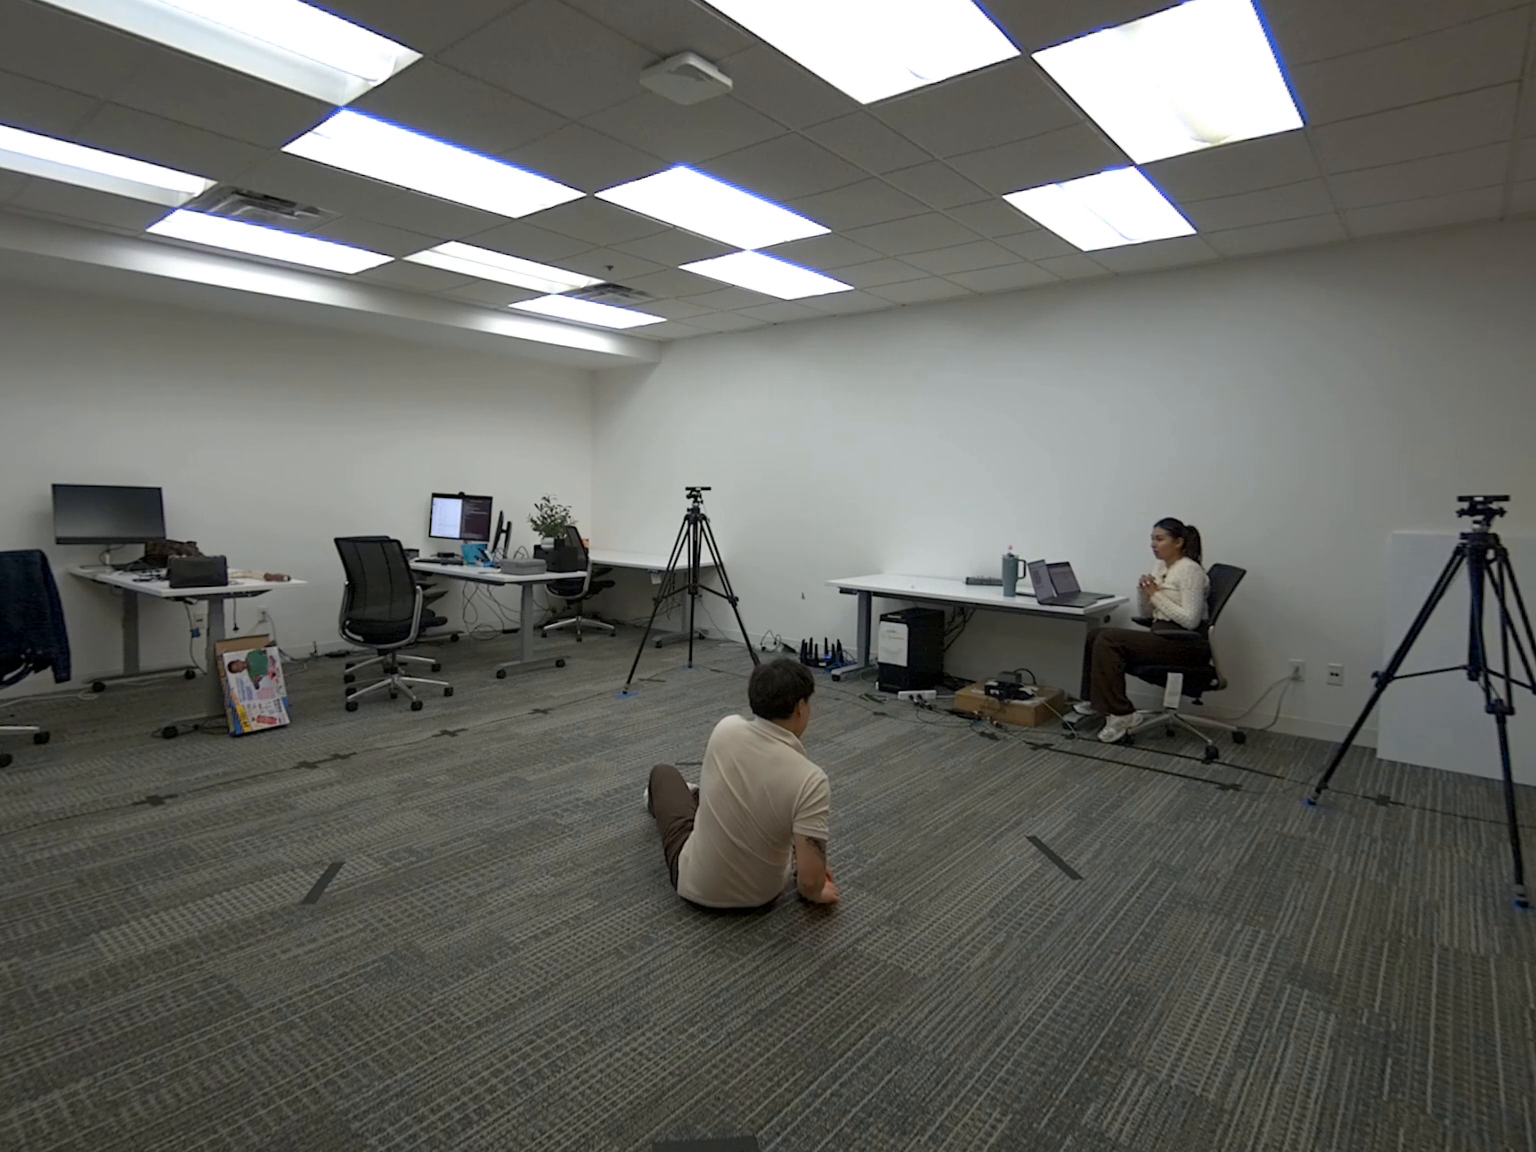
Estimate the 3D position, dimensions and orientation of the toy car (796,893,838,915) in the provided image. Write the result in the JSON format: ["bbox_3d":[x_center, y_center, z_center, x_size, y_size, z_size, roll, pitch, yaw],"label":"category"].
[{"bbox_3d":[0.157,1.066,2.922,0.130,0.083,0.255,2,-2,-5],"label":"toy car"}]
